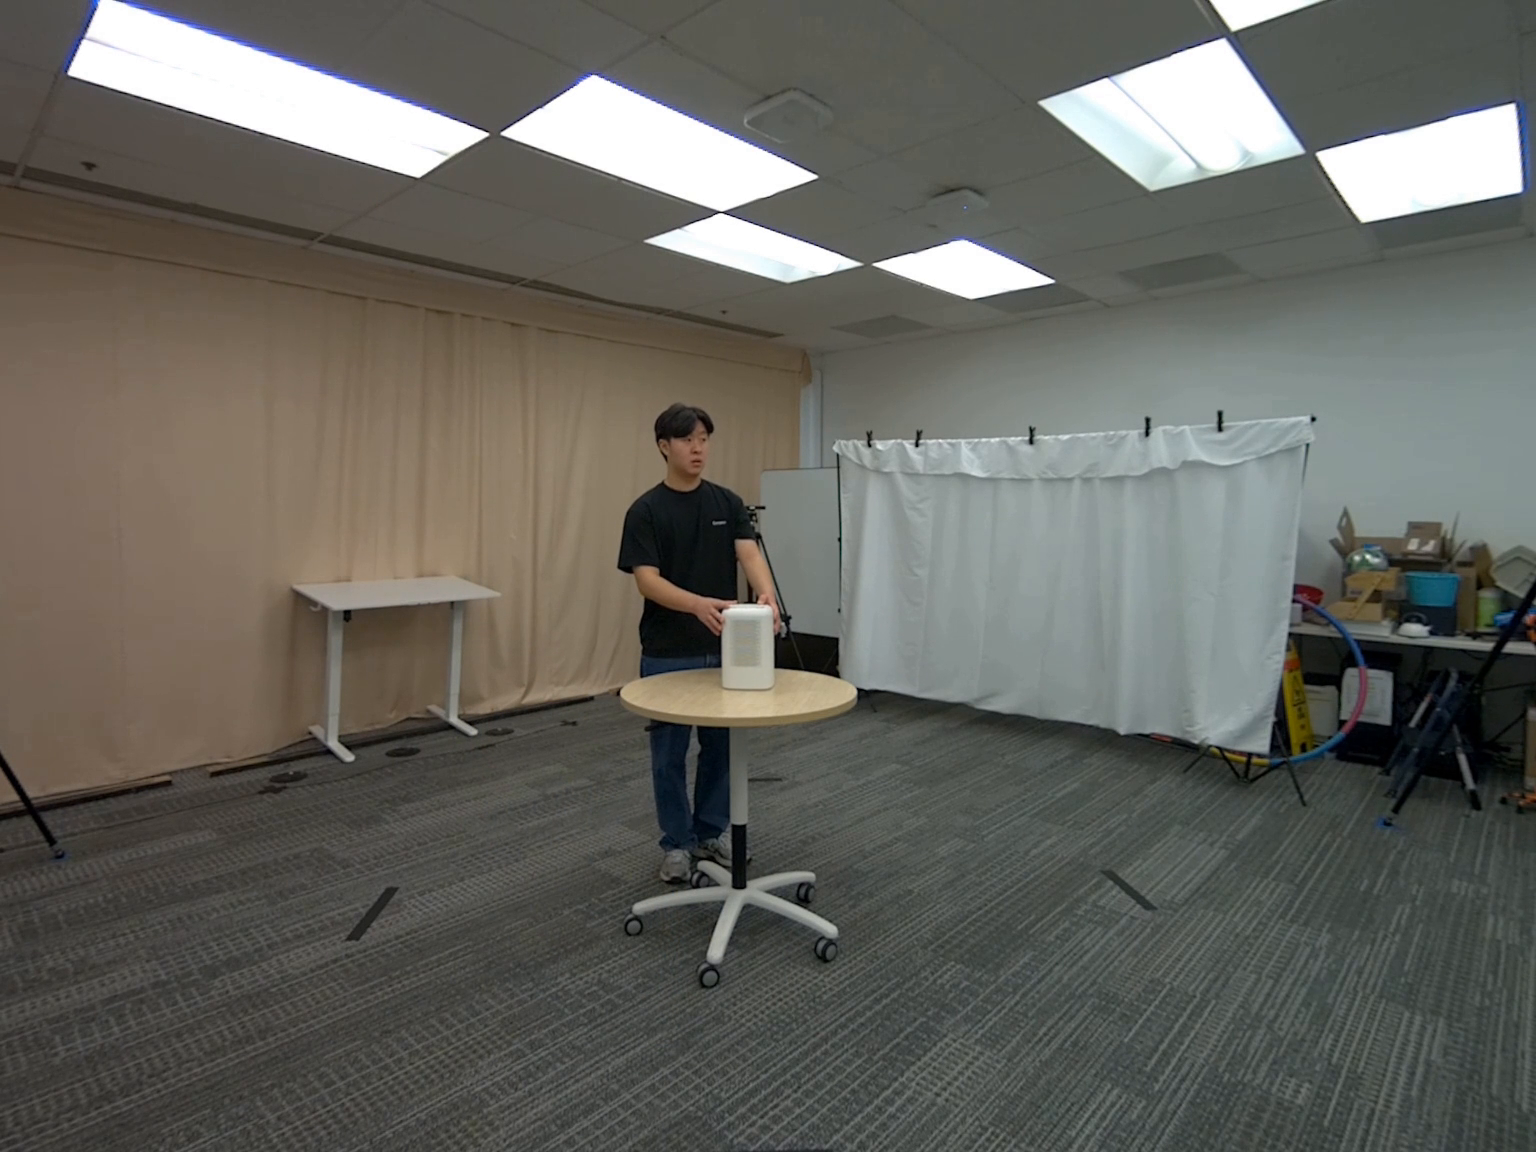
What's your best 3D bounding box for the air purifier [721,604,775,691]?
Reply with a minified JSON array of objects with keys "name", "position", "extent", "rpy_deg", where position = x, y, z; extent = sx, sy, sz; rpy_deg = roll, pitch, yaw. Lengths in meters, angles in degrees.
[{"name":"air purifier","position":[-0.063,0.232,2.795],"extent":[0.173,0.265,0.170],"rpy_deg":[1,3,7]}]
